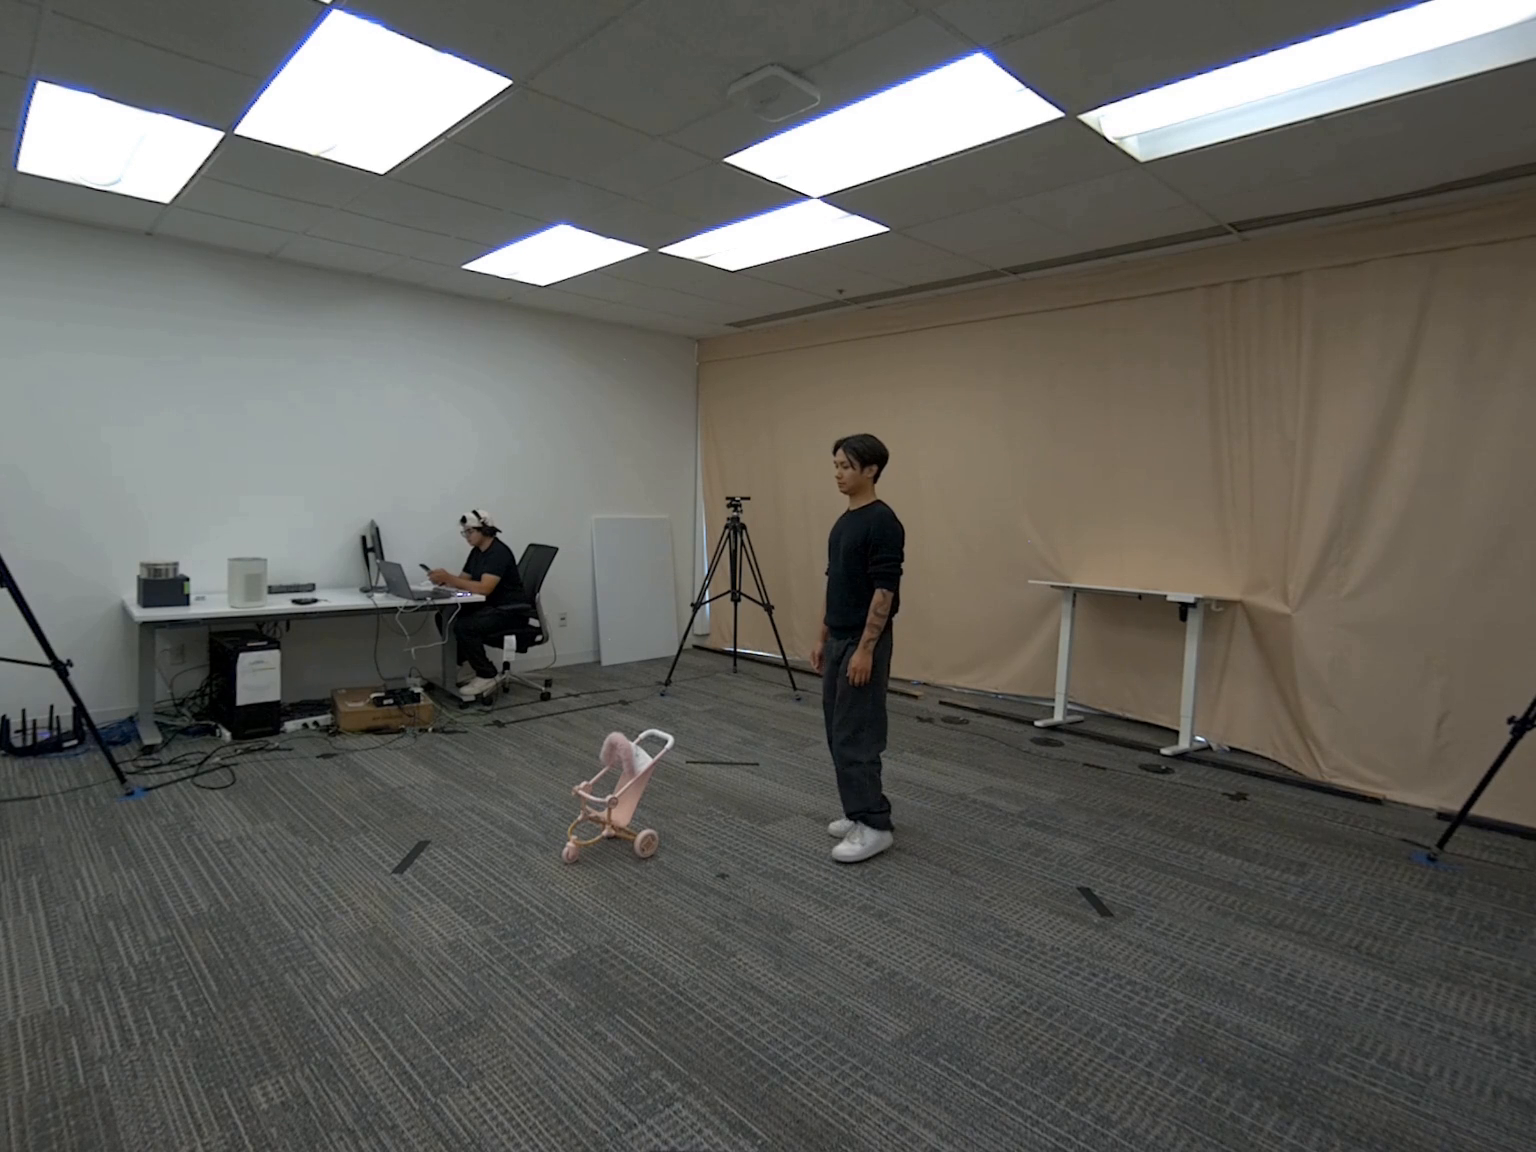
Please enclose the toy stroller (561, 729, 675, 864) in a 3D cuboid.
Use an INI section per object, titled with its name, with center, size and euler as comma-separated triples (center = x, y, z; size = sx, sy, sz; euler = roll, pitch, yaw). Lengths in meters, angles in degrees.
[toy stroller]
center = -0.605, 0.854, 3.291
size = 0.332, 0.537, 0.288
euler = 18, -7, -36
